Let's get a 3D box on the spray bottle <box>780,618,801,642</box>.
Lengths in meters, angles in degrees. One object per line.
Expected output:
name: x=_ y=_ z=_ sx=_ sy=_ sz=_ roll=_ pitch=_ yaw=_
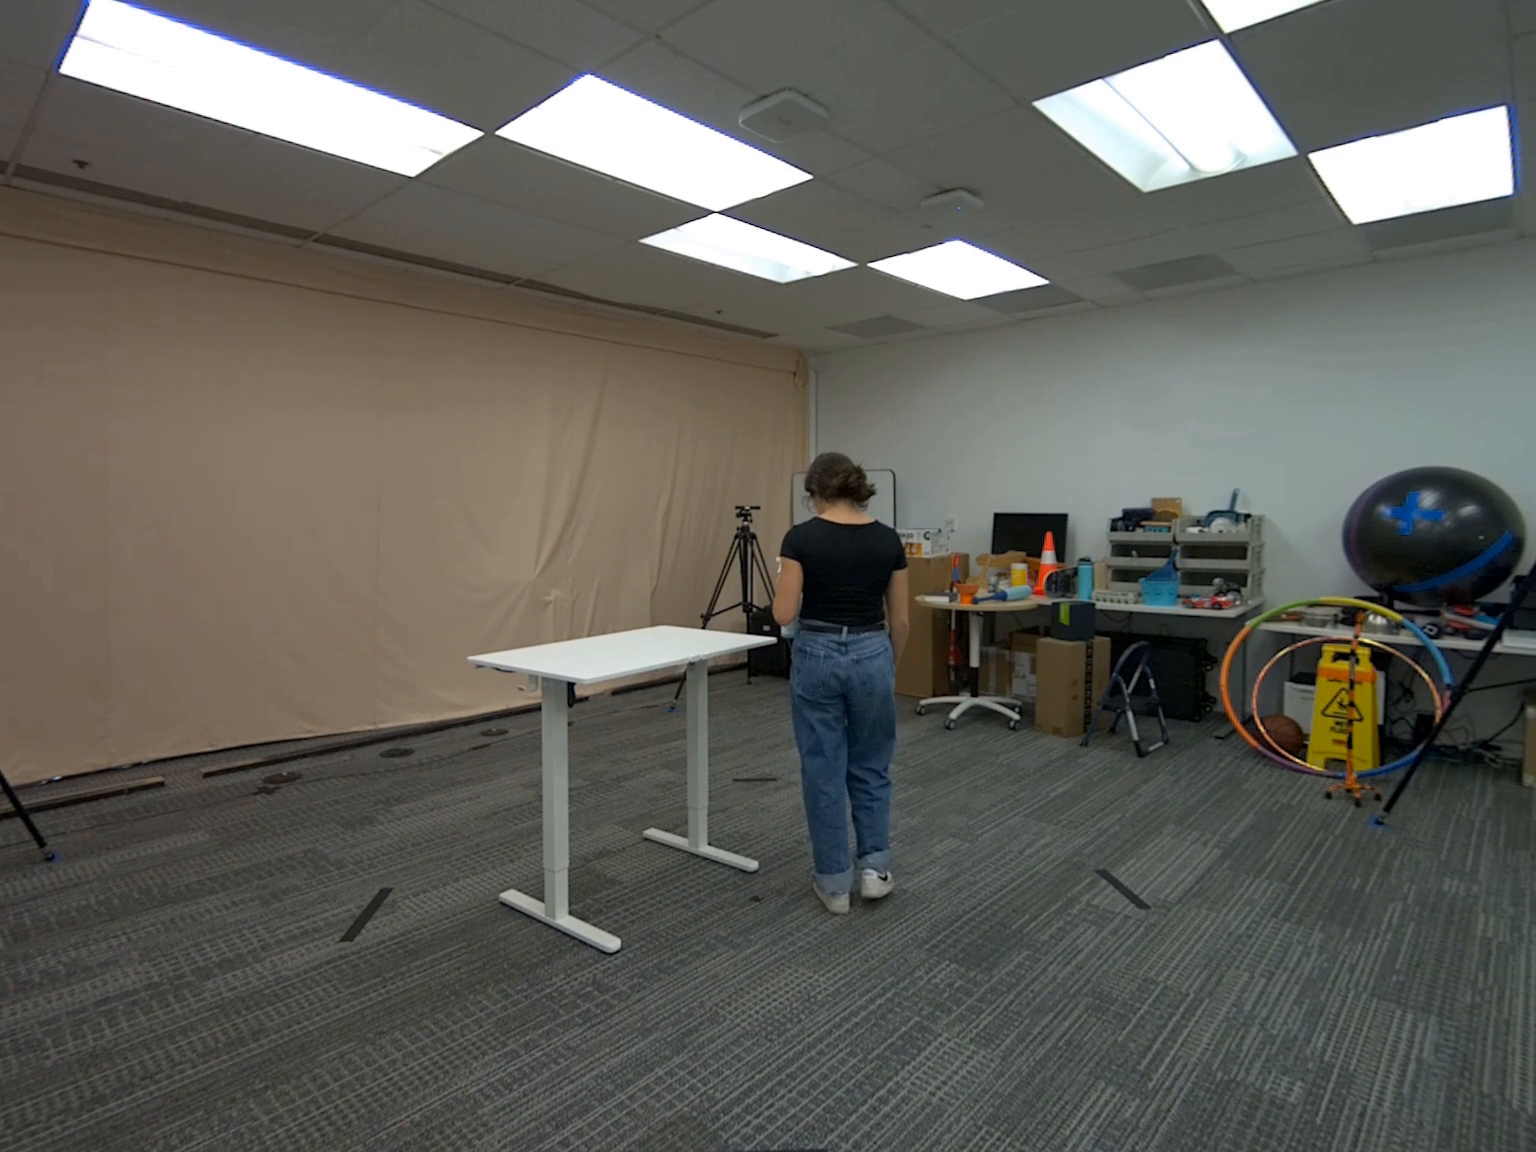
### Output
spray bottle: x=0.084 y=0.078 z=3.091 sx=0.090 sy=0.297 sz=0.087 roll=-3 pitch=3 yaw=3
